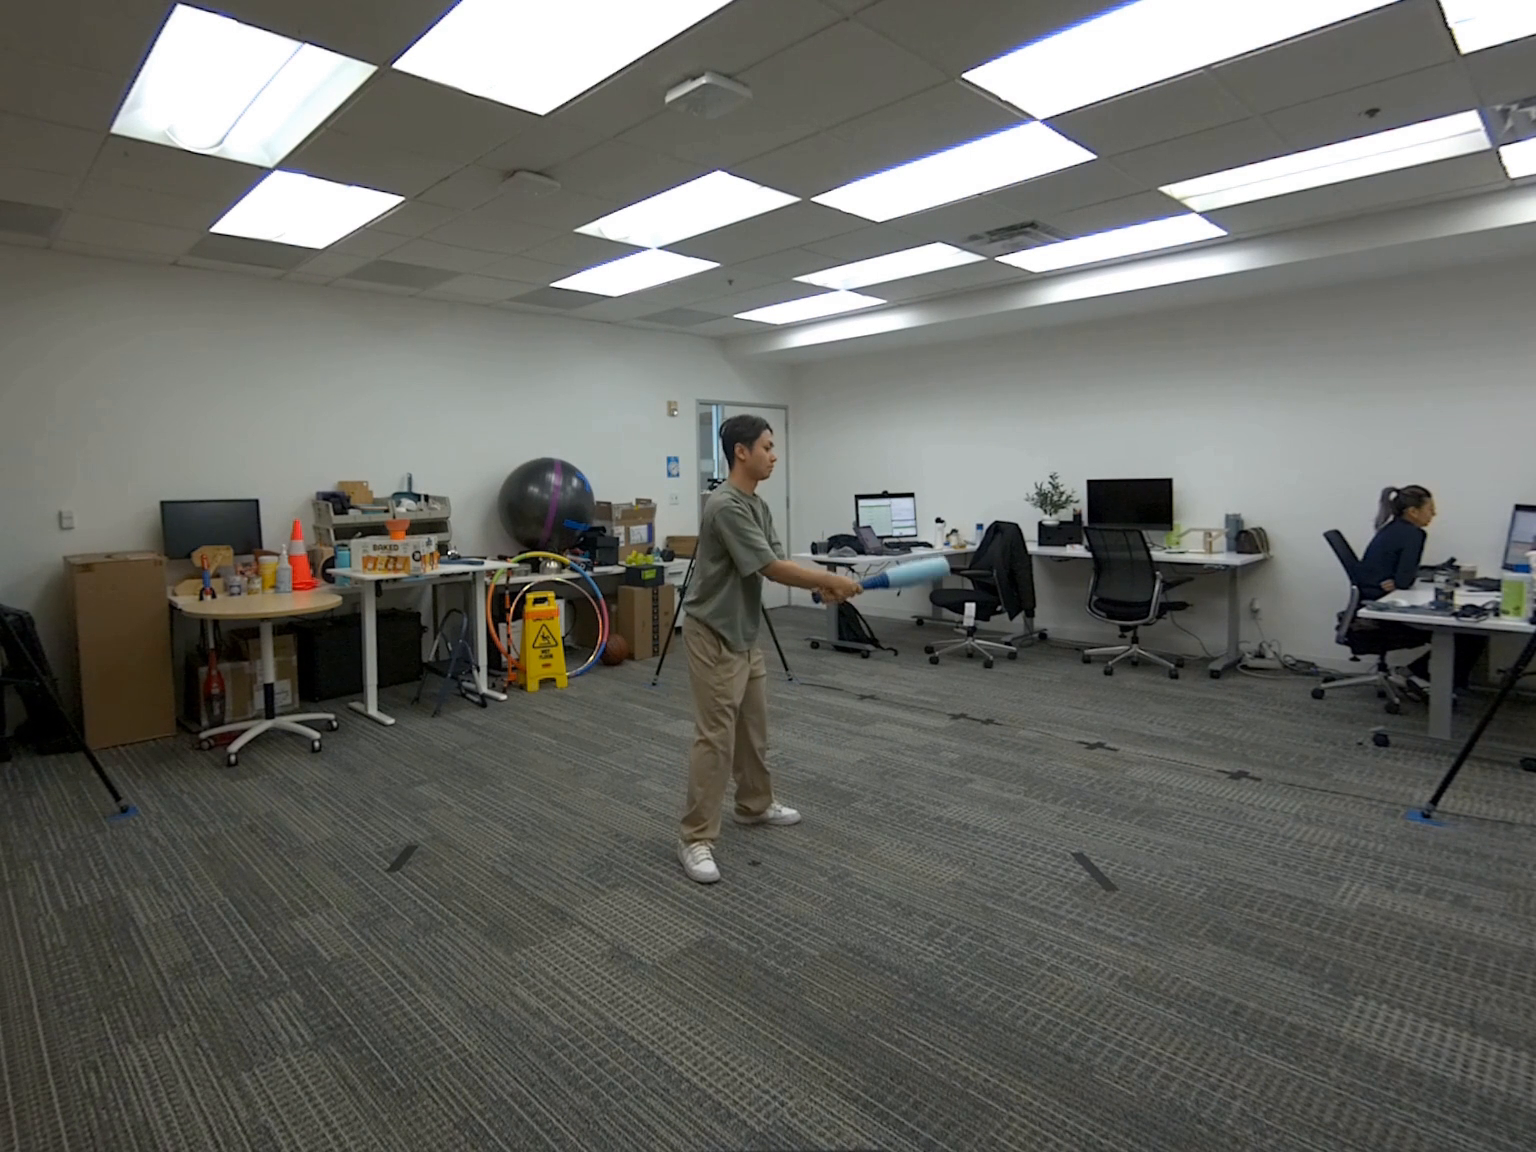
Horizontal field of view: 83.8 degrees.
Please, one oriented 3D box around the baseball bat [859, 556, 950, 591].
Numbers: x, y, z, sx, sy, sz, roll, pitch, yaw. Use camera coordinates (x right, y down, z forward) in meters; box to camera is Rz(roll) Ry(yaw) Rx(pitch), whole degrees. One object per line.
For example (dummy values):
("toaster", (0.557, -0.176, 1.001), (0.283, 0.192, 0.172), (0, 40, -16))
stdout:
("baseball bat", (0.387, 0.017, 3.233), (0.540, 0.088, 0.090), (-13, 6, -6))
